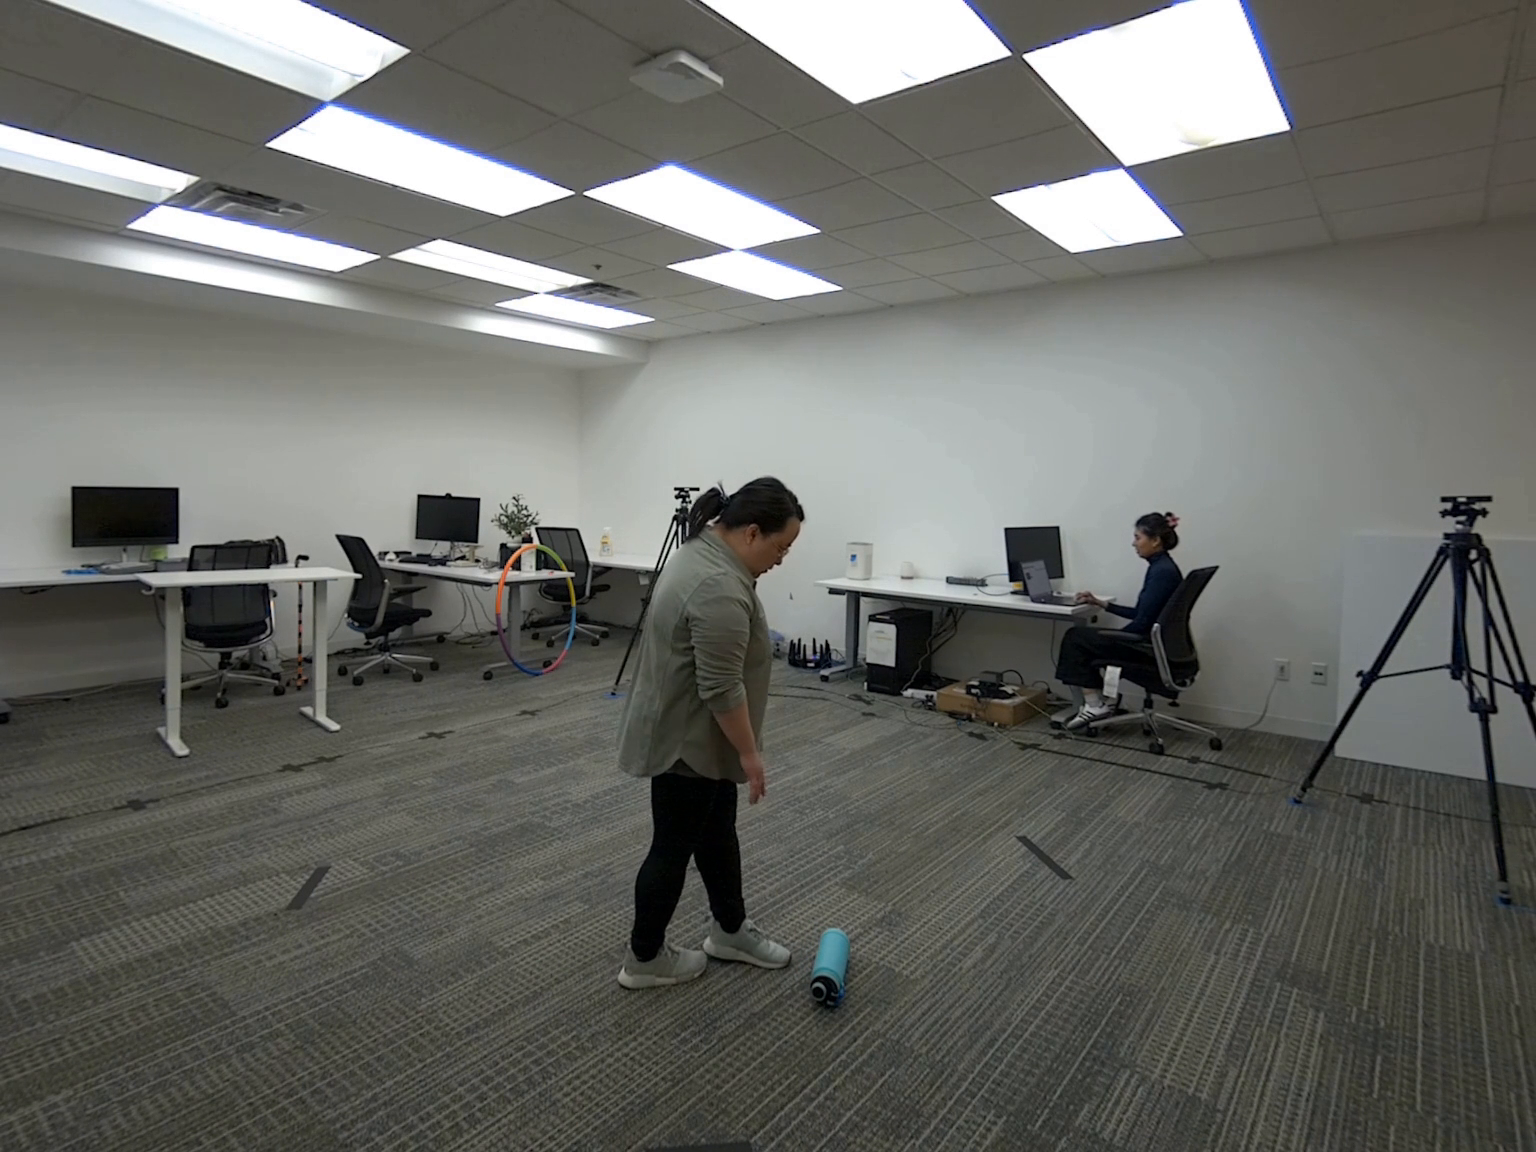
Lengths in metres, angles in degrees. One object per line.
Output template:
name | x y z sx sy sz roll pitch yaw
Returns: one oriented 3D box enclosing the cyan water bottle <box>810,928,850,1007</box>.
cyan water bottle | 0.168 1.102 2.390 0.093 0.092 0.281 2 6 10
